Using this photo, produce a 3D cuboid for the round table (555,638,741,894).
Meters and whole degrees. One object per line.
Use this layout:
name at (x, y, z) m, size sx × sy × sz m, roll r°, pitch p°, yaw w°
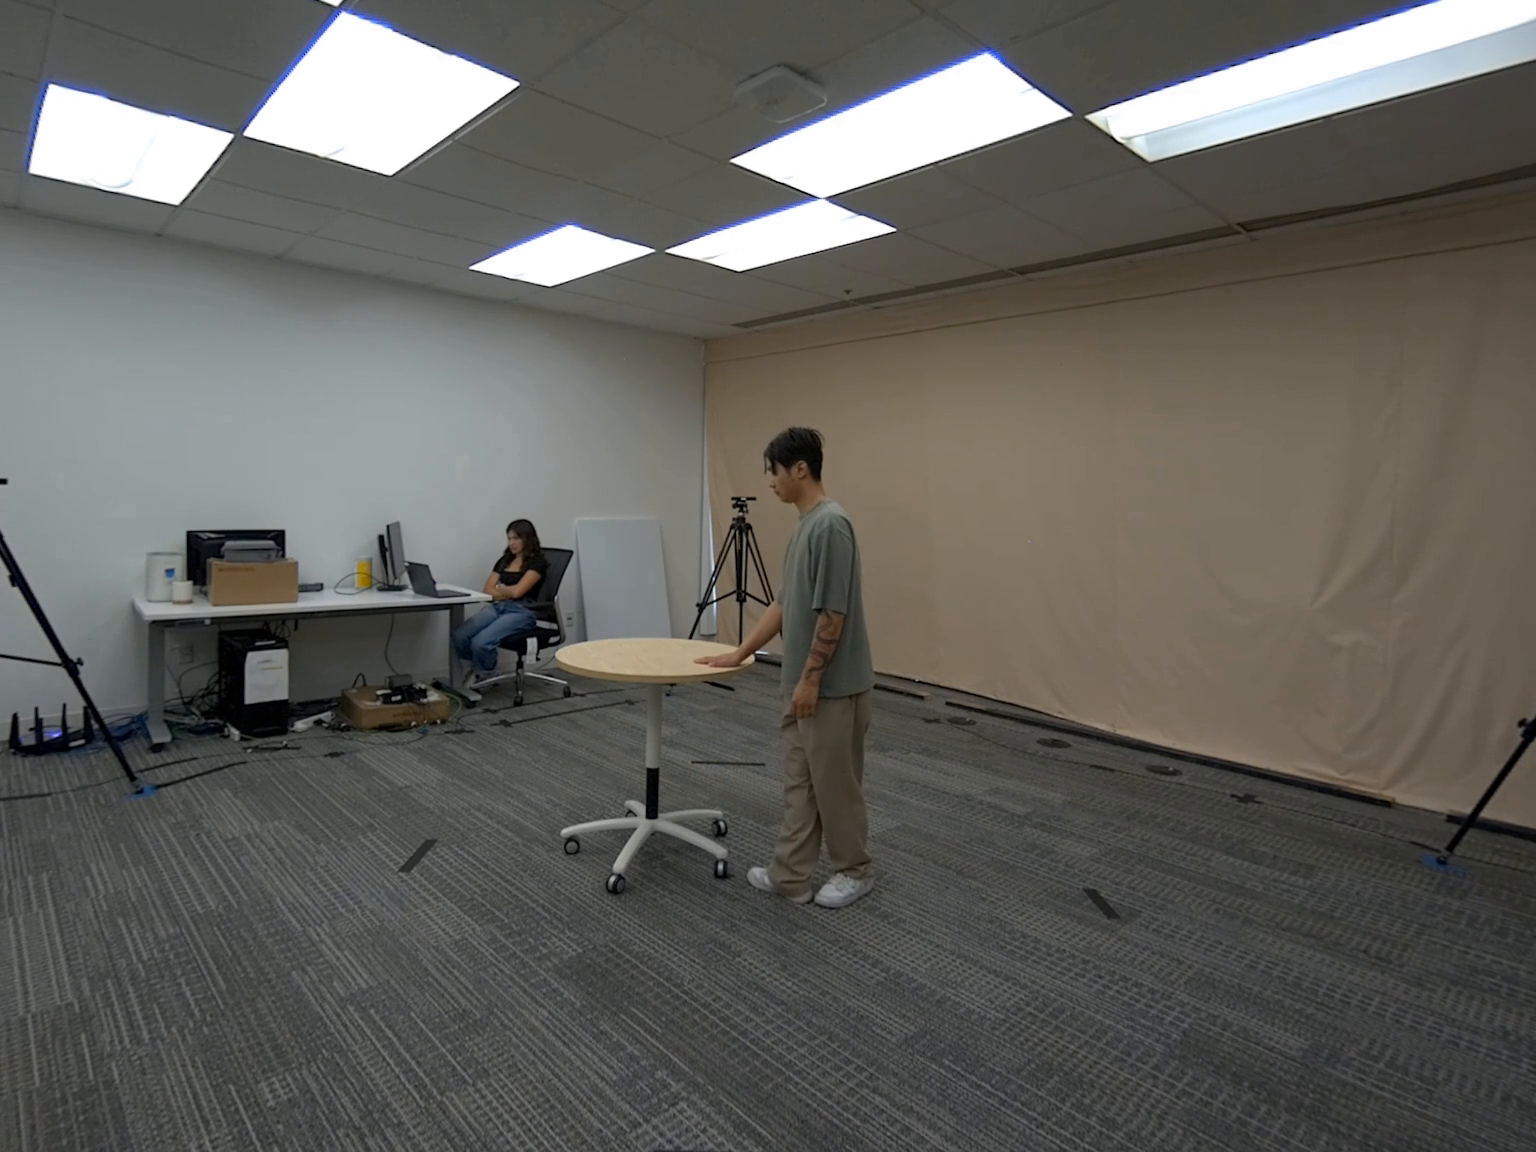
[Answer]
round table at (-0.459, 0.697, 3.278) m, size 0.763 × 0.792 × 0.766 m, roll 2°, pitch 4°, yaw -1°
